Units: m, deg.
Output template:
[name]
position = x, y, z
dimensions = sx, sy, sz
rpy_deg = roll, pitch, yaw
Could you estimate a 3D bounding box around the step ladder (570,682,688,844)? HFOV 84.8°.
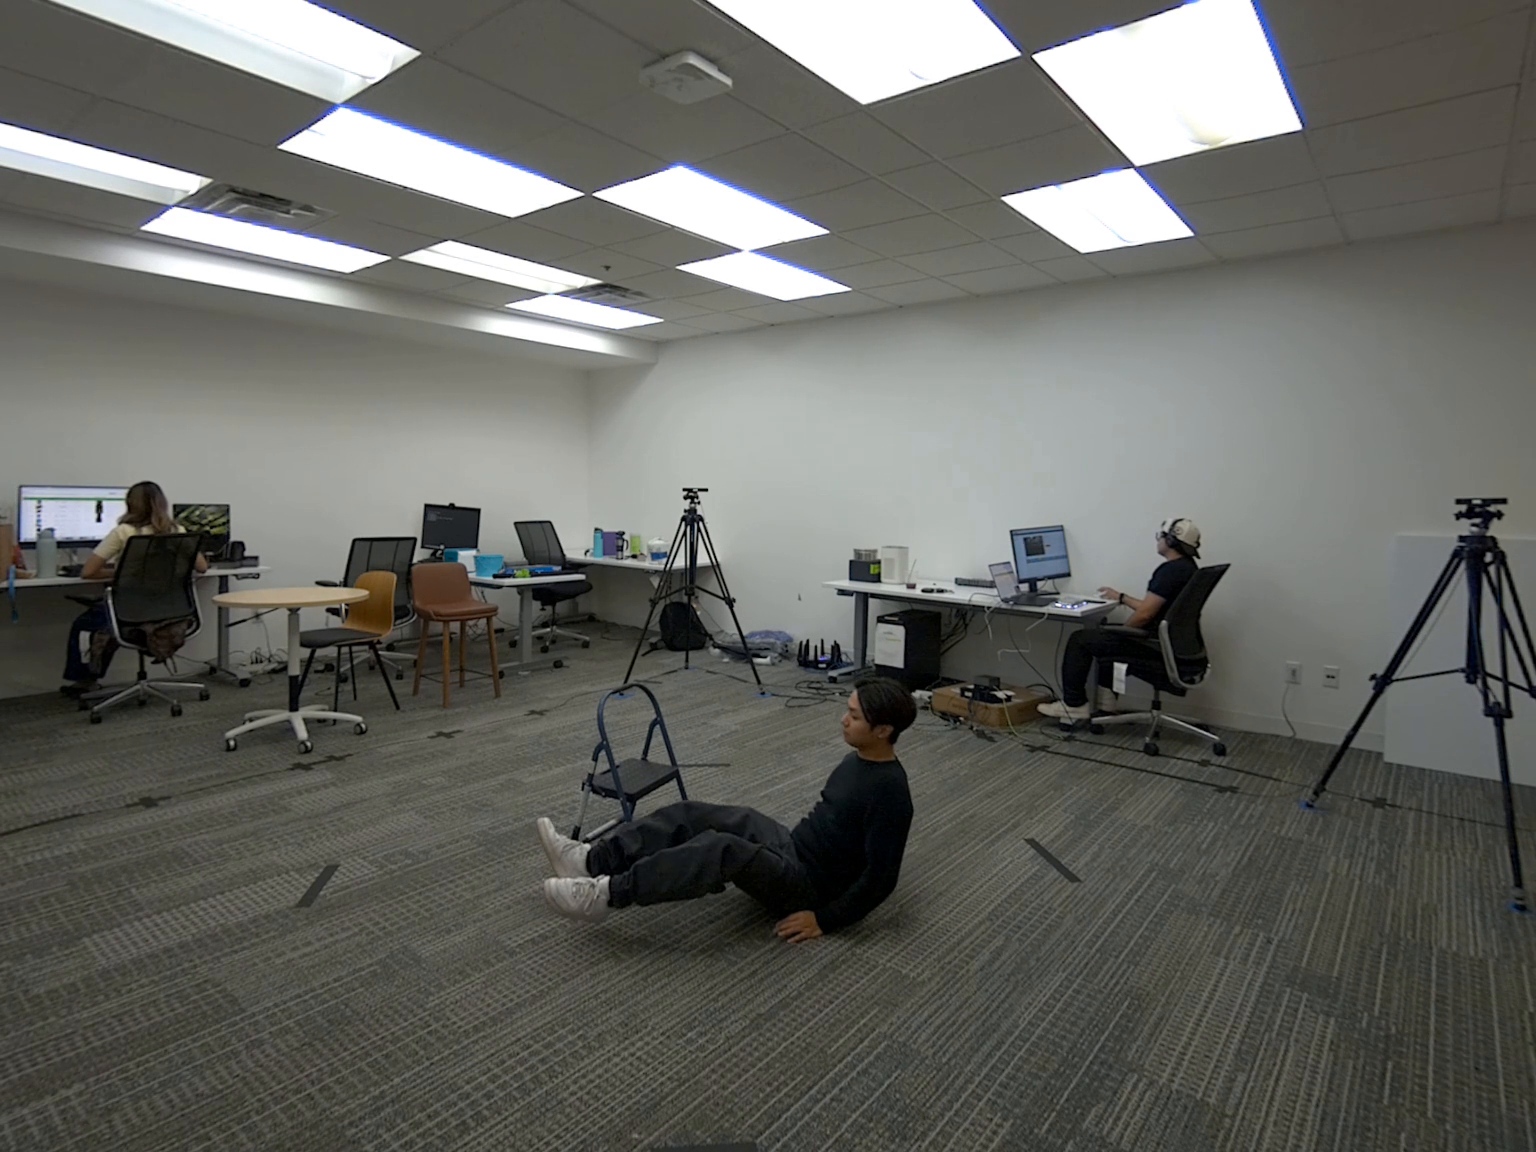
[step ladder]
position = -0.526, 0.737, 3.343
dimensions = 0.358, 0.604, 0.421
rpy_deg = 3, 4, 25
